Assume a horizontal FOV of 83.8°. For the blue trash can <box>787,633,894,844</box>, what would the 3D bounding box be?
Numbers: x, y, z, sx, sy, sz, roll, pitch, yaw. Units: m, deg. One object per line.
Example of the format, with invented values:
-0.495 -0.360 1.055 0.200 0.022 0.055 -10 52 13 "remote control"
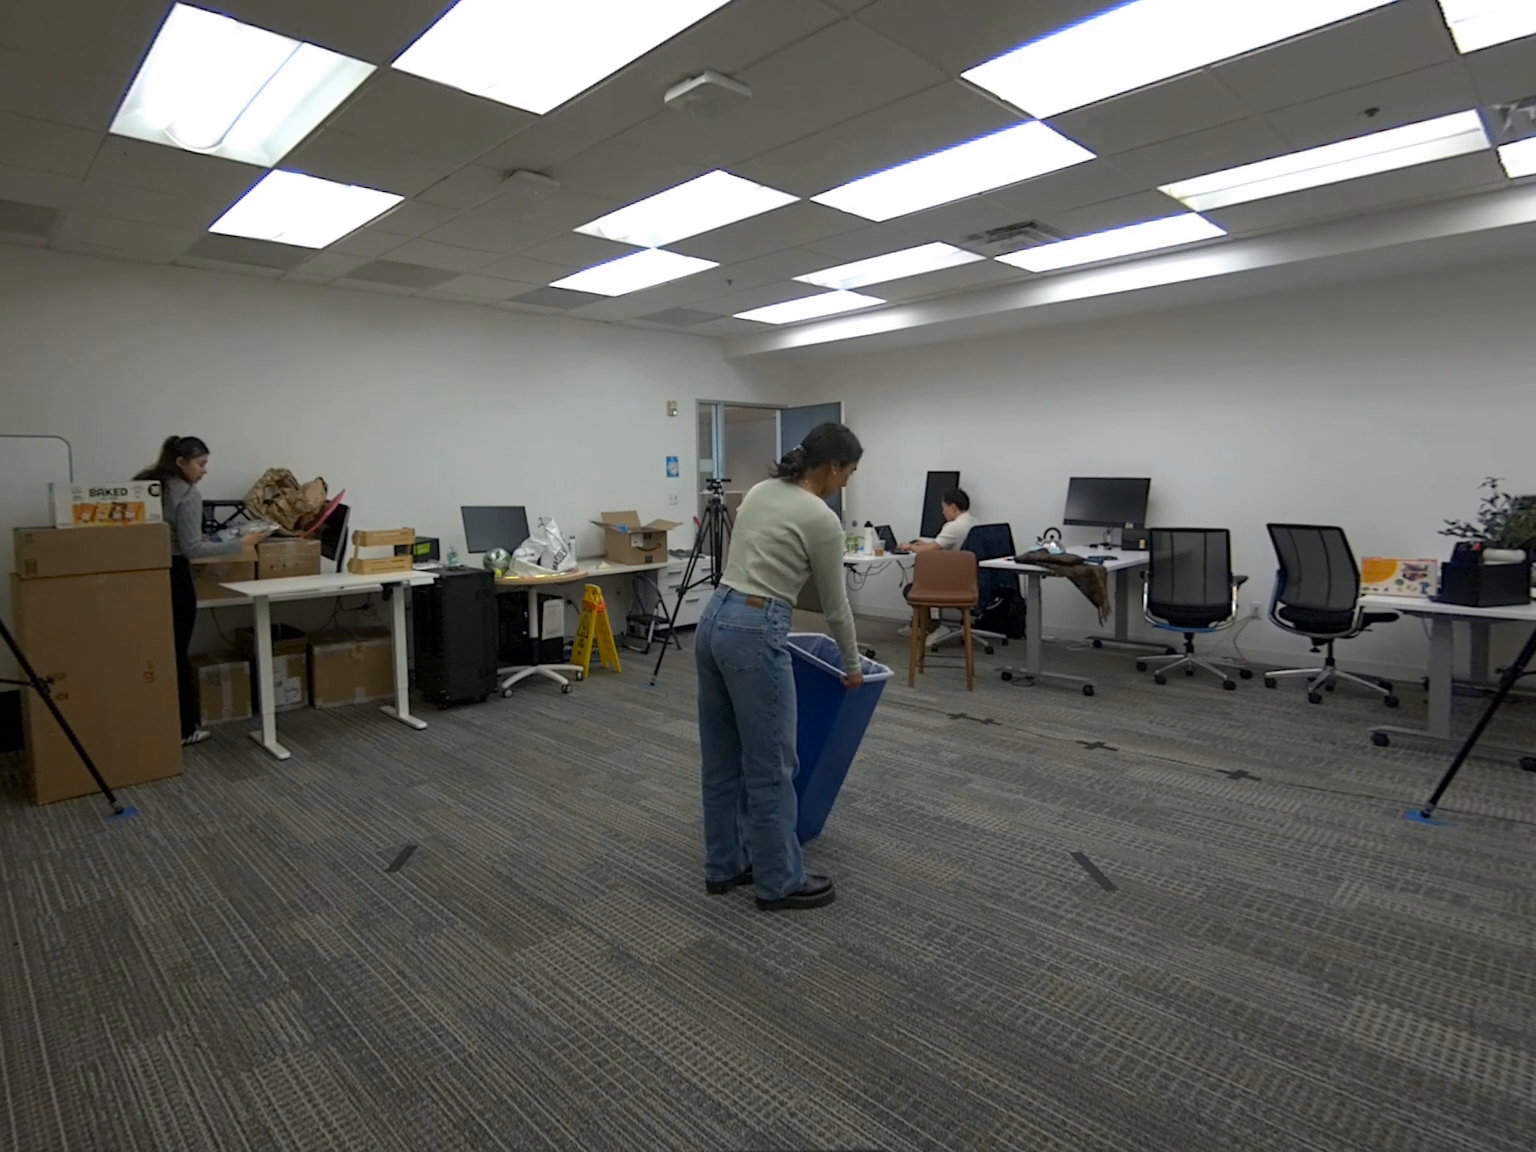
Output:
0.140 0.624 3.259 0.391 0.710 0.363 25 10 33 "blue trash can"
